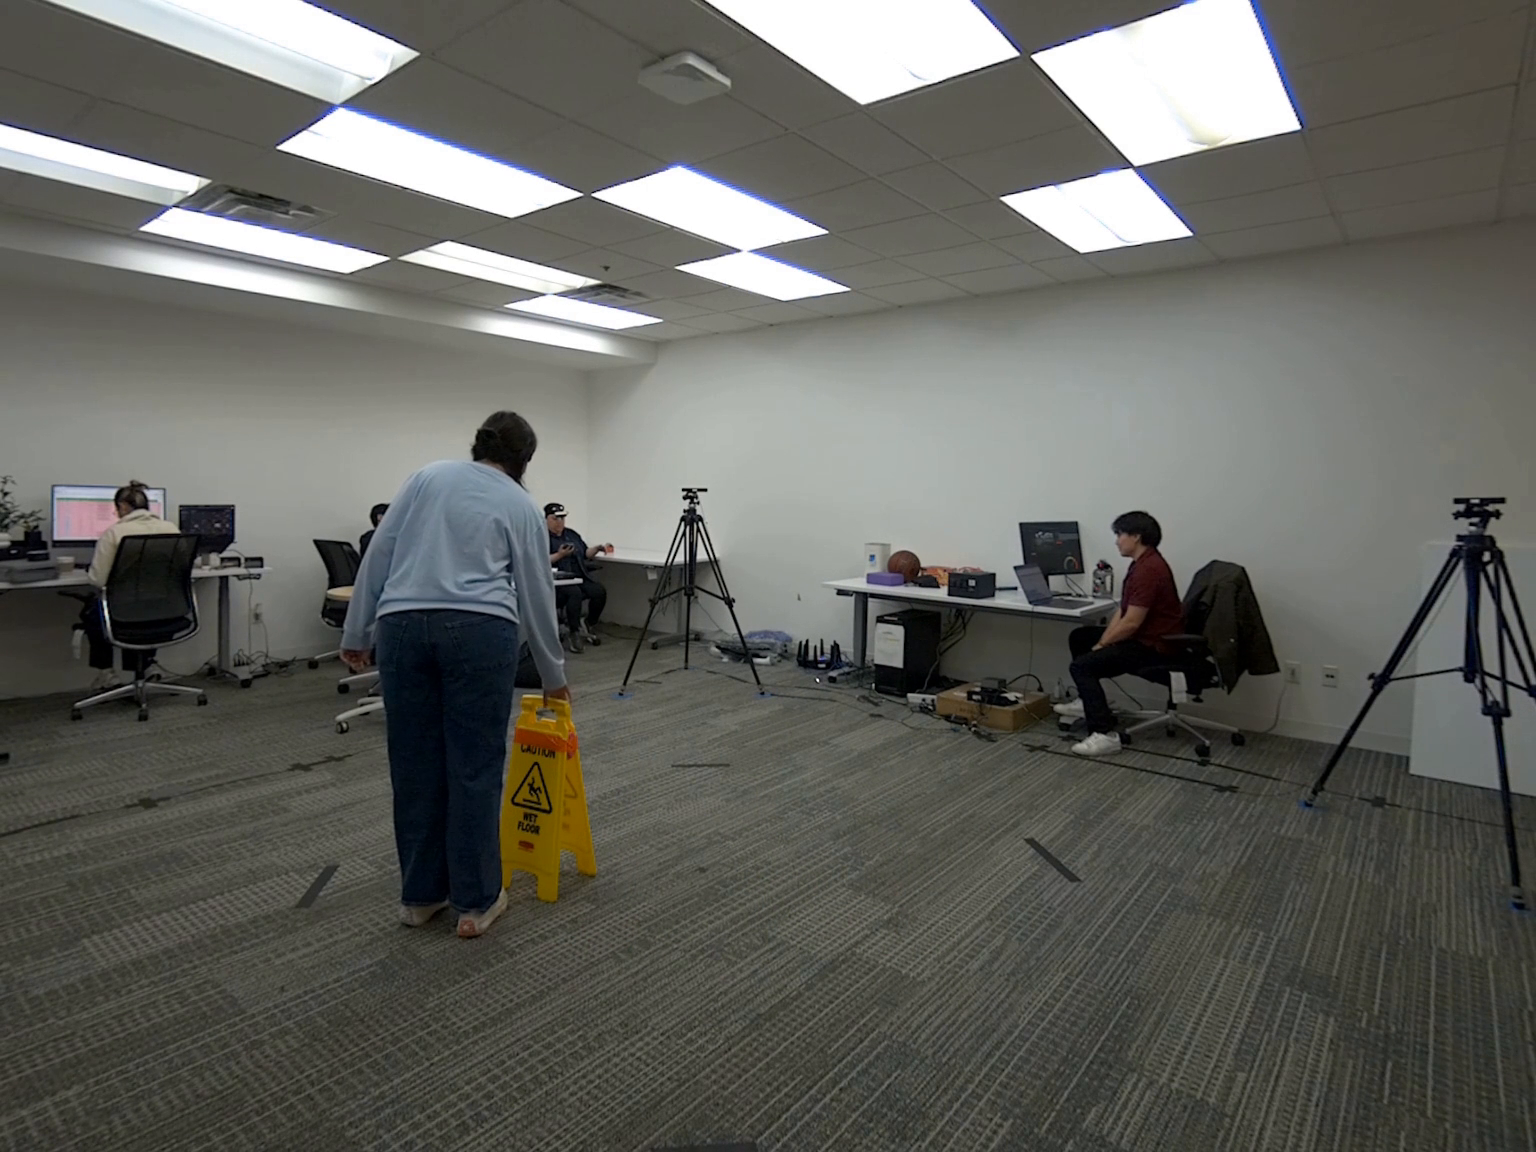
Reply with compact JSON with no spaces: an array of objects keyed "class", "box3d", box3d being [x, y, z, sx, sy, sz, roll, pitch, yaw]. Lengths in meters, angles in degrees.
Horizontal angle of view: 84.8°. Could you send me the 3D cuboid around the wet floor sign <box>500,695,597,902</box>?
[{"class":"wet floor sign","box3d":[-0.798,0.748,2.984,0.289,0.644,0.283,2,3,25]}]
